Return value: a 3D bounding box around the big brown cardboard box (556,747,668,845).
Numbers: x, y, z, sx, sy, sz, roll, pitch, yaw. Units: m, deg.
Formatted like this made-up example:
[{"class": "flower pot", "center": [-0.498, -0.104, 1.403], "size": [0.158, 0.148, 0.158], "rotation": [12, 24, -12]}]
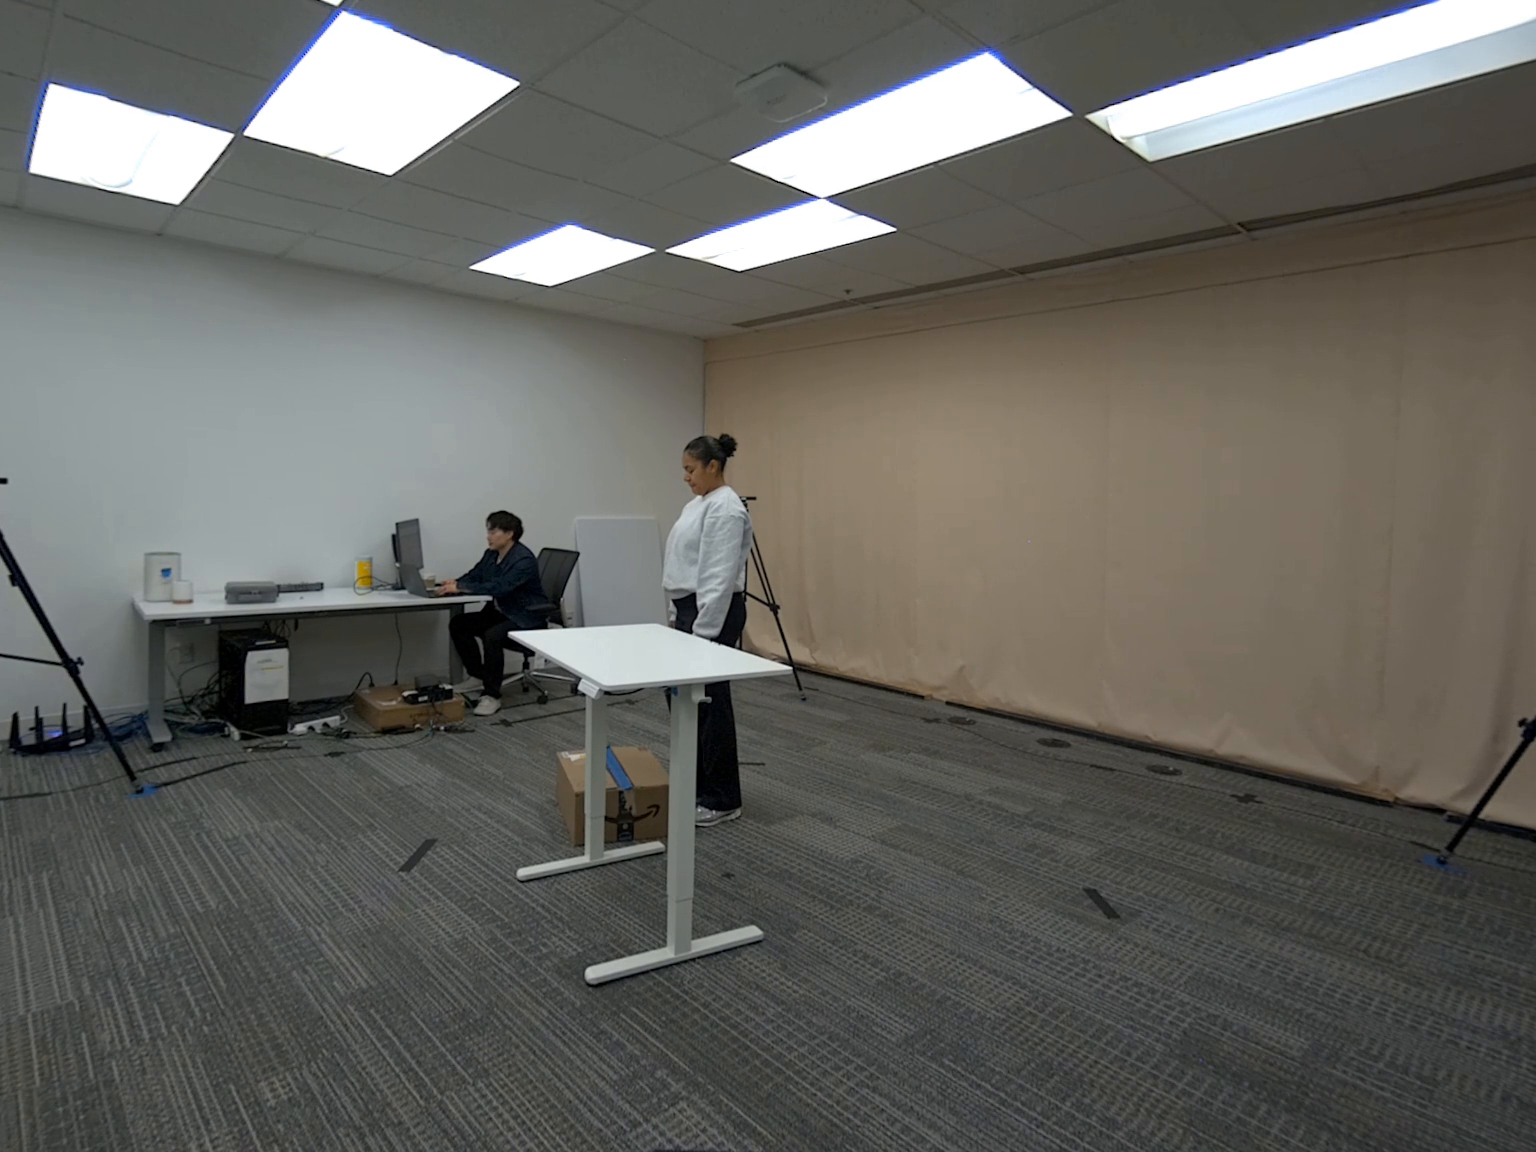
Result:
[{"class": "big brown cardboard box", "center": [-0.683, 0.935, 3.654], "size": [0.411, 0.232, 0.600], "rotation": [0, 6, -21]}]
